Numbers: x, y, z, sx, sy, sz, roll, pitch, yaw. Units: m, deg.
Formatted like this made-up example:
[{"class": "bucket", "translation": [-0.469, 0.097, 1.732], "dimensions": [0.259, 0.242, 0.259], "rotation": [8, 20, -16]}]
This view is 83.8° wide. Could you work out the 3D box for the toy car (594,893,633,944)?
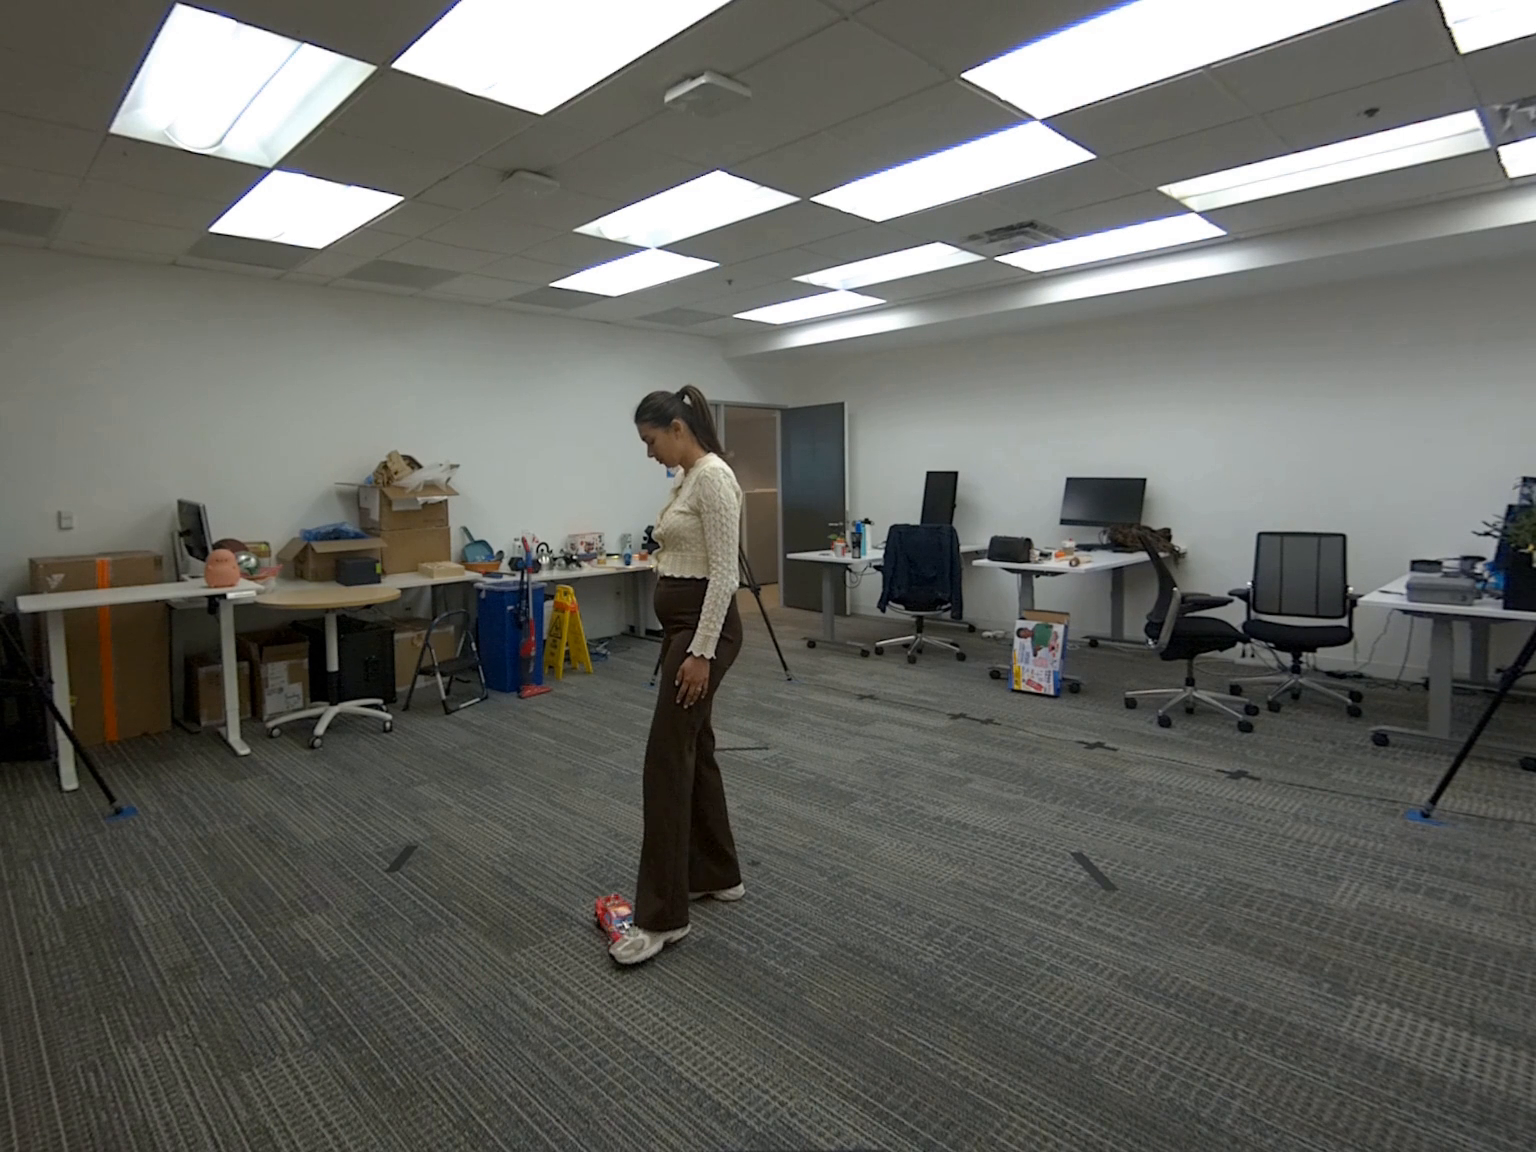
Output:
[{"class": "toy car", "translation": [-0.460, 1.074, 2.657], "dimensions": [0.128, 0.082, 0.263], "rotation": [-6, 21, -25]}]
